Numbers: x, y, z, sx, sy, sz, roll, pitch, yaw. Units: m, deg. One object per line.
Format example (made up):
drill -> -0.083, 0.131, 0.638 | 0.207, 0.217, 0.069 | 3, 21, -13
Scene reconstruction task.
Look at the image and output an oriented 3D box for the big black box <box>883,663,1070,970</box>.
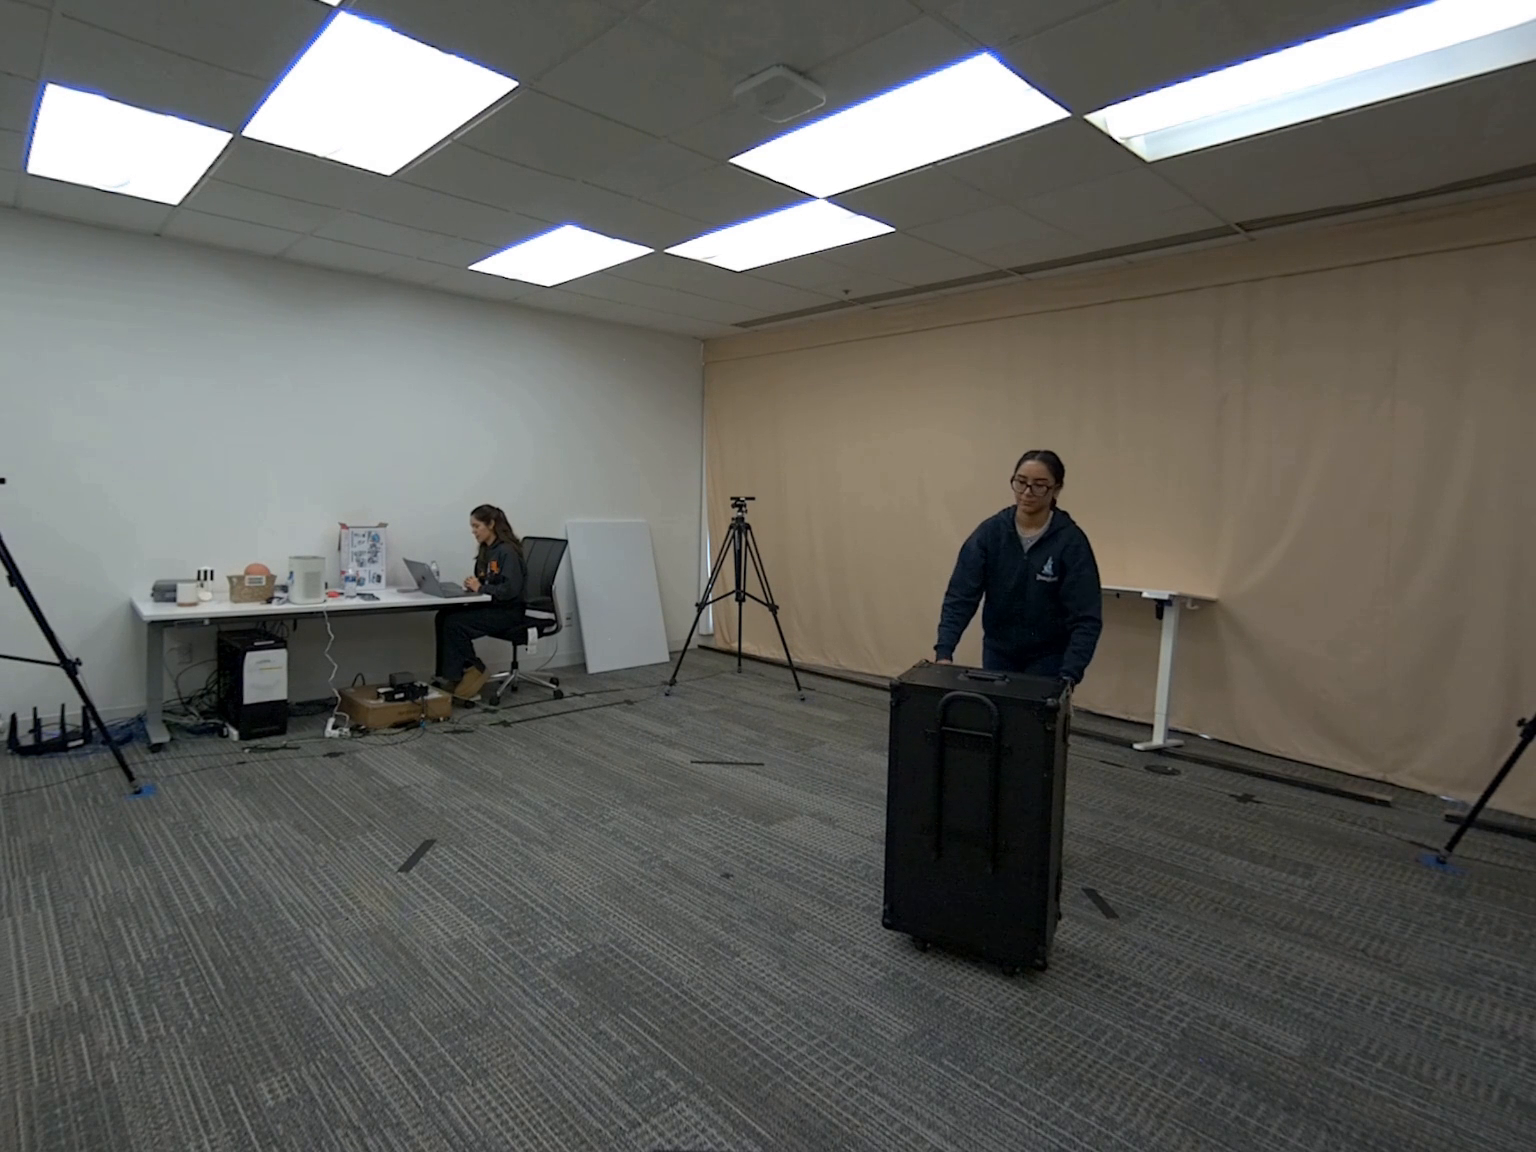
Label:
big black box -> 0.652, 0.745, 2.630 | 0.532, 0.858, 0.389 | 3, 6, 27
